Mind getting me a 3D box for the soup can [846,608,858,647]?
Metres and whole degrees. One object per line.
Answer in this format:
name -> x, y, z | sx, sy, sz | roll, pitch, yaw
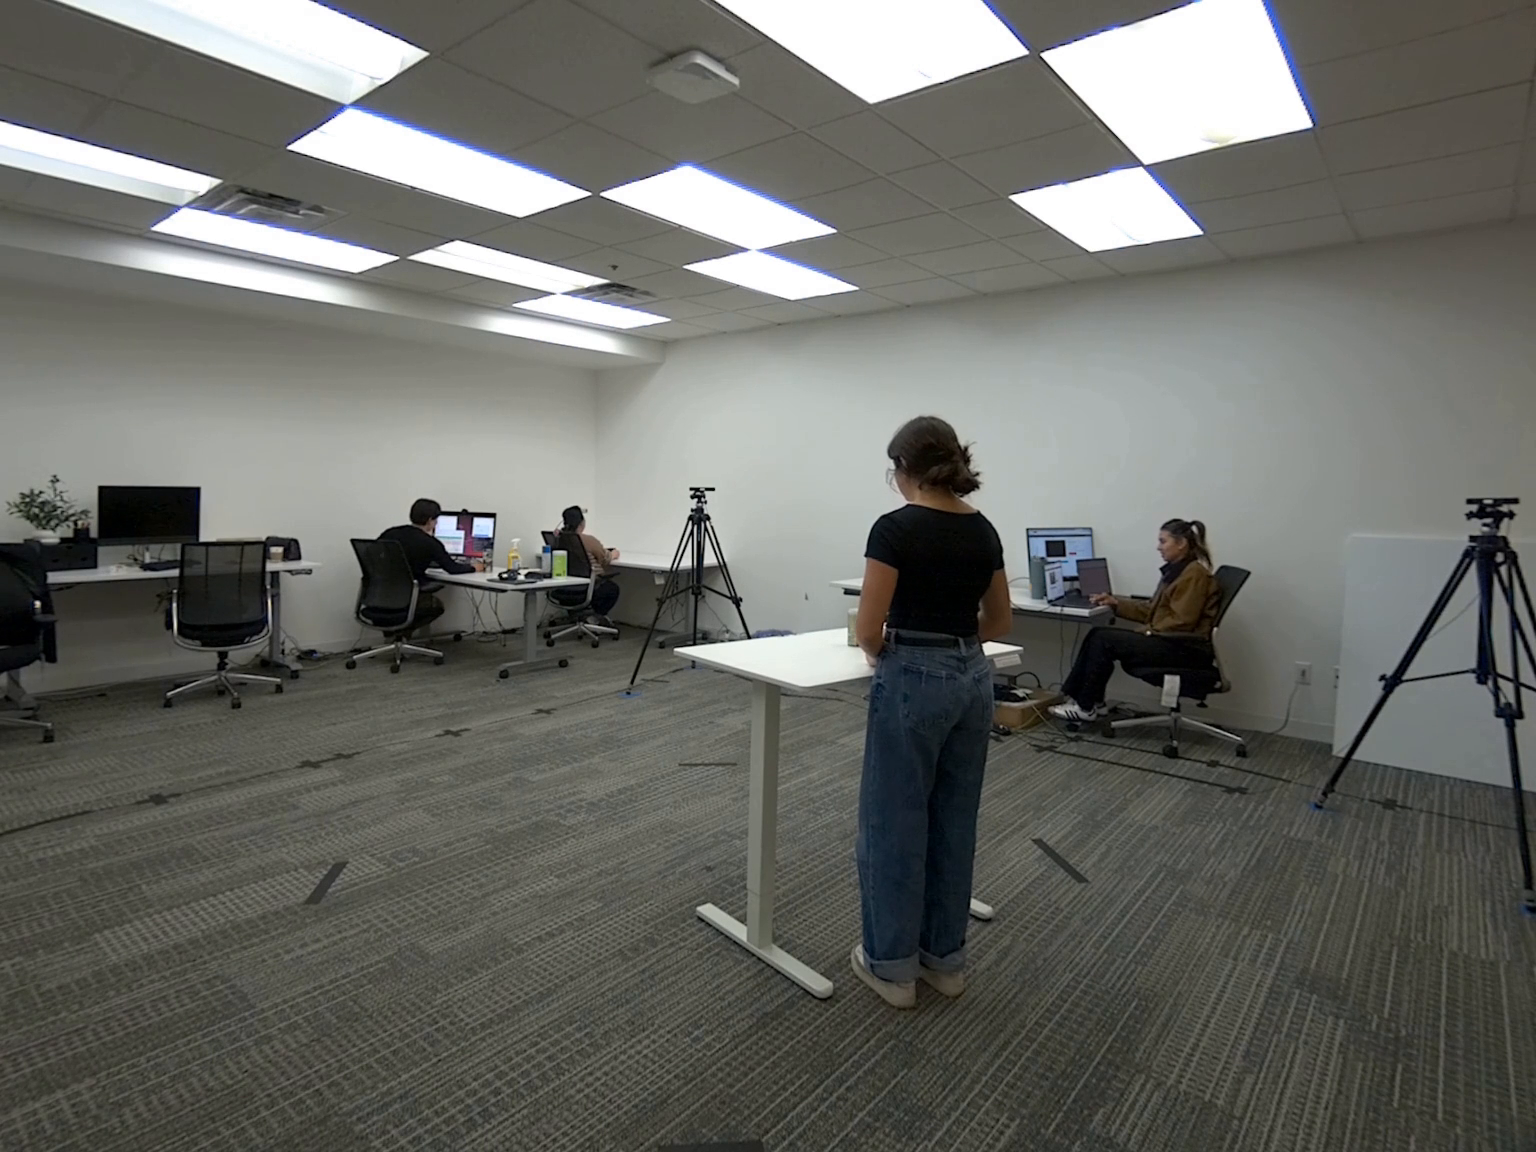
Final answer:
soup can -> 0.290, 0.168, 2.793 | 0.067, 0.121, 0.067 | 3, 3, -2
